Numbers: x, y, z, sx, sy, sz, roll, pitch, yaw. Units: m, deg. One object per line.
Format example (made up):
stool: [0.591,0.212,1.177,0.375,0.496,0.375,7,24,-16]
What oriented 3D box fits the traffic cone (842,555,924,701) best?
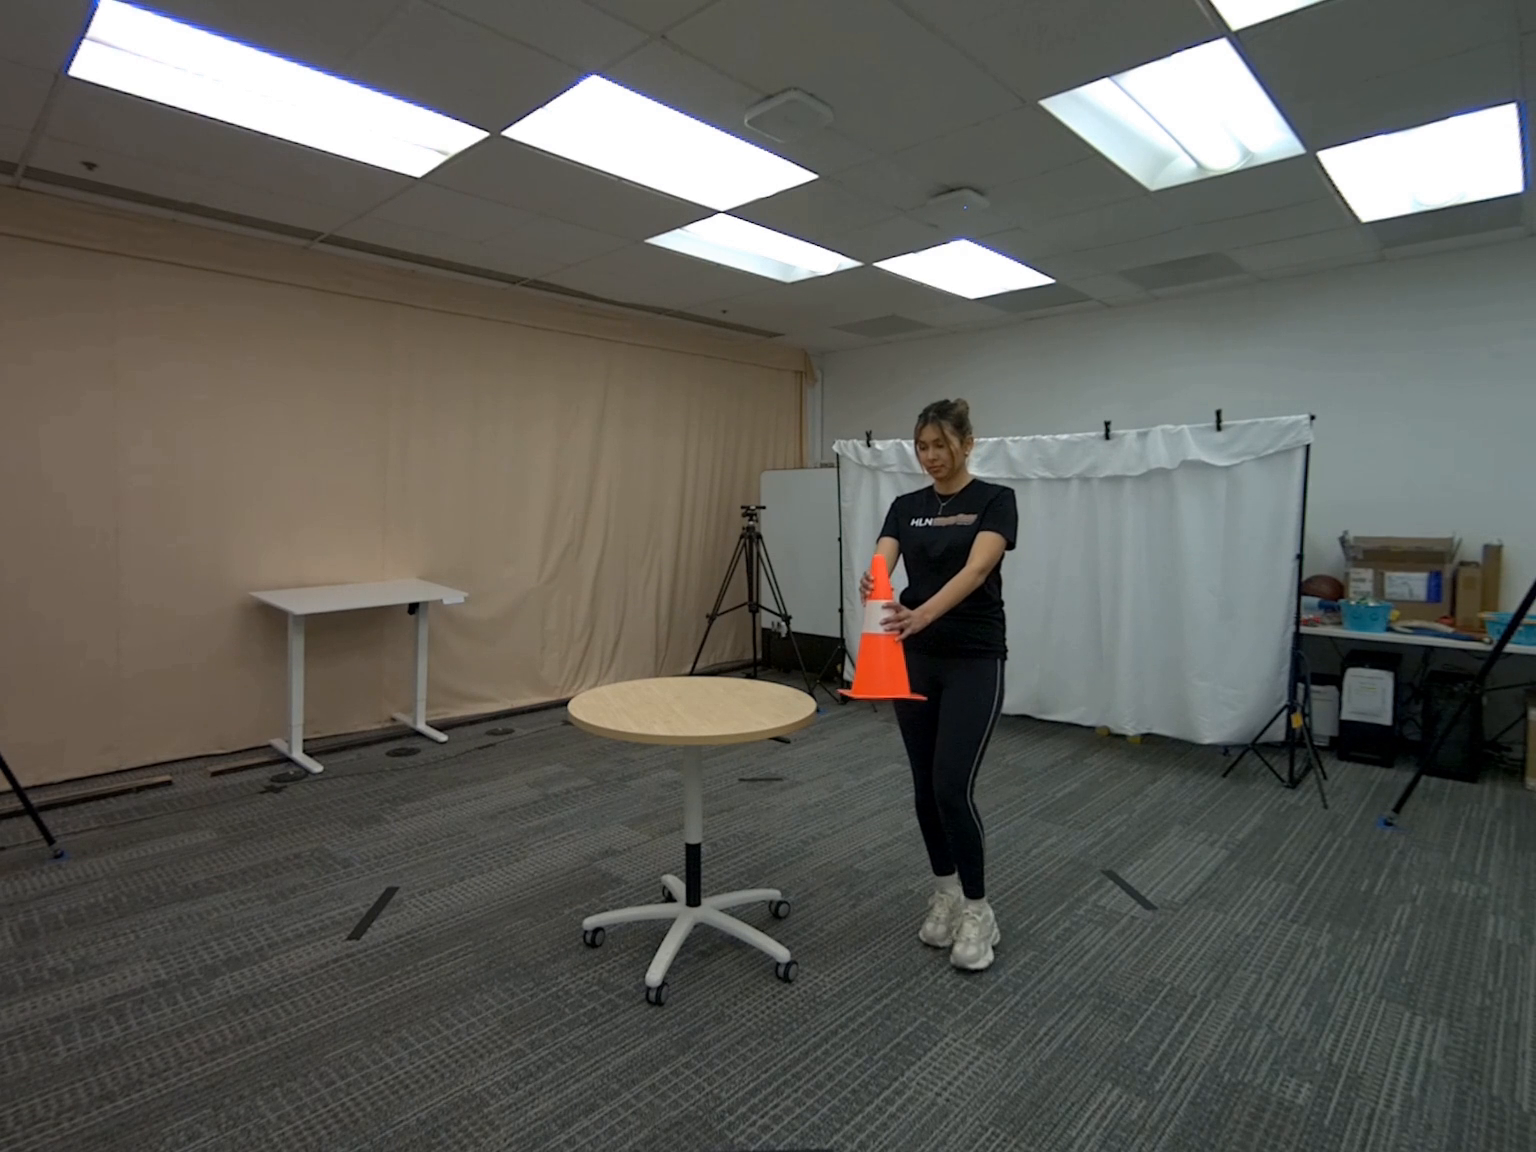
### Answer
traffic cone: [0.319,0.136,2.298,0.204,0.384,0.204,0,-3,-5]
